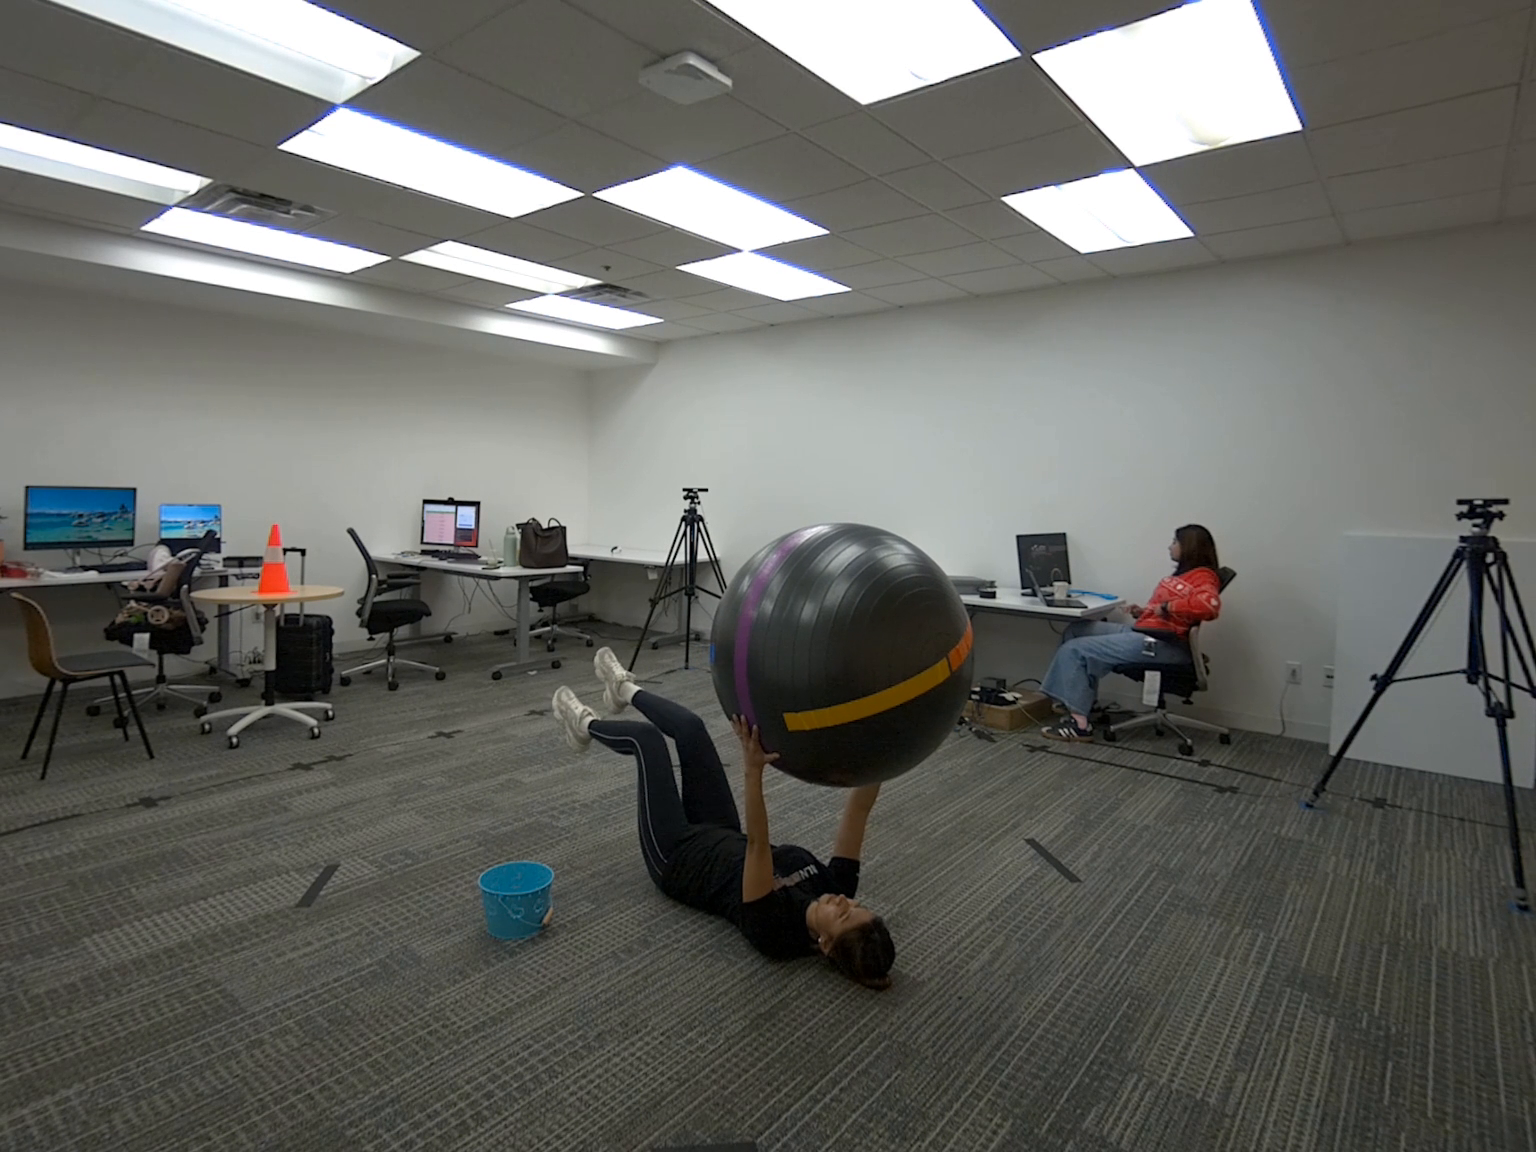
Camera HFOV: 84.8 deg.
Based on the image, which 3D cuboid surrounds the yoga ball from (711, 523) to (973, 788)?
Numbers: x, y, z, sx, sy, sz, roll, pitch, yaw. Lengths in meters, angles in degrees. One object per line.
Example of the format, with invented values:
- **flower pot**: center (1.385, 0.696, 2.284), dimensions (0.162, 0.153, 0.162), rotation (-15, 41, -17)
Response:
- **yoga ball**: center (0.202, 0.224, 2.476), dimensions (0.757, 0.756, 0.761), rotation (-3, 3, -2)
